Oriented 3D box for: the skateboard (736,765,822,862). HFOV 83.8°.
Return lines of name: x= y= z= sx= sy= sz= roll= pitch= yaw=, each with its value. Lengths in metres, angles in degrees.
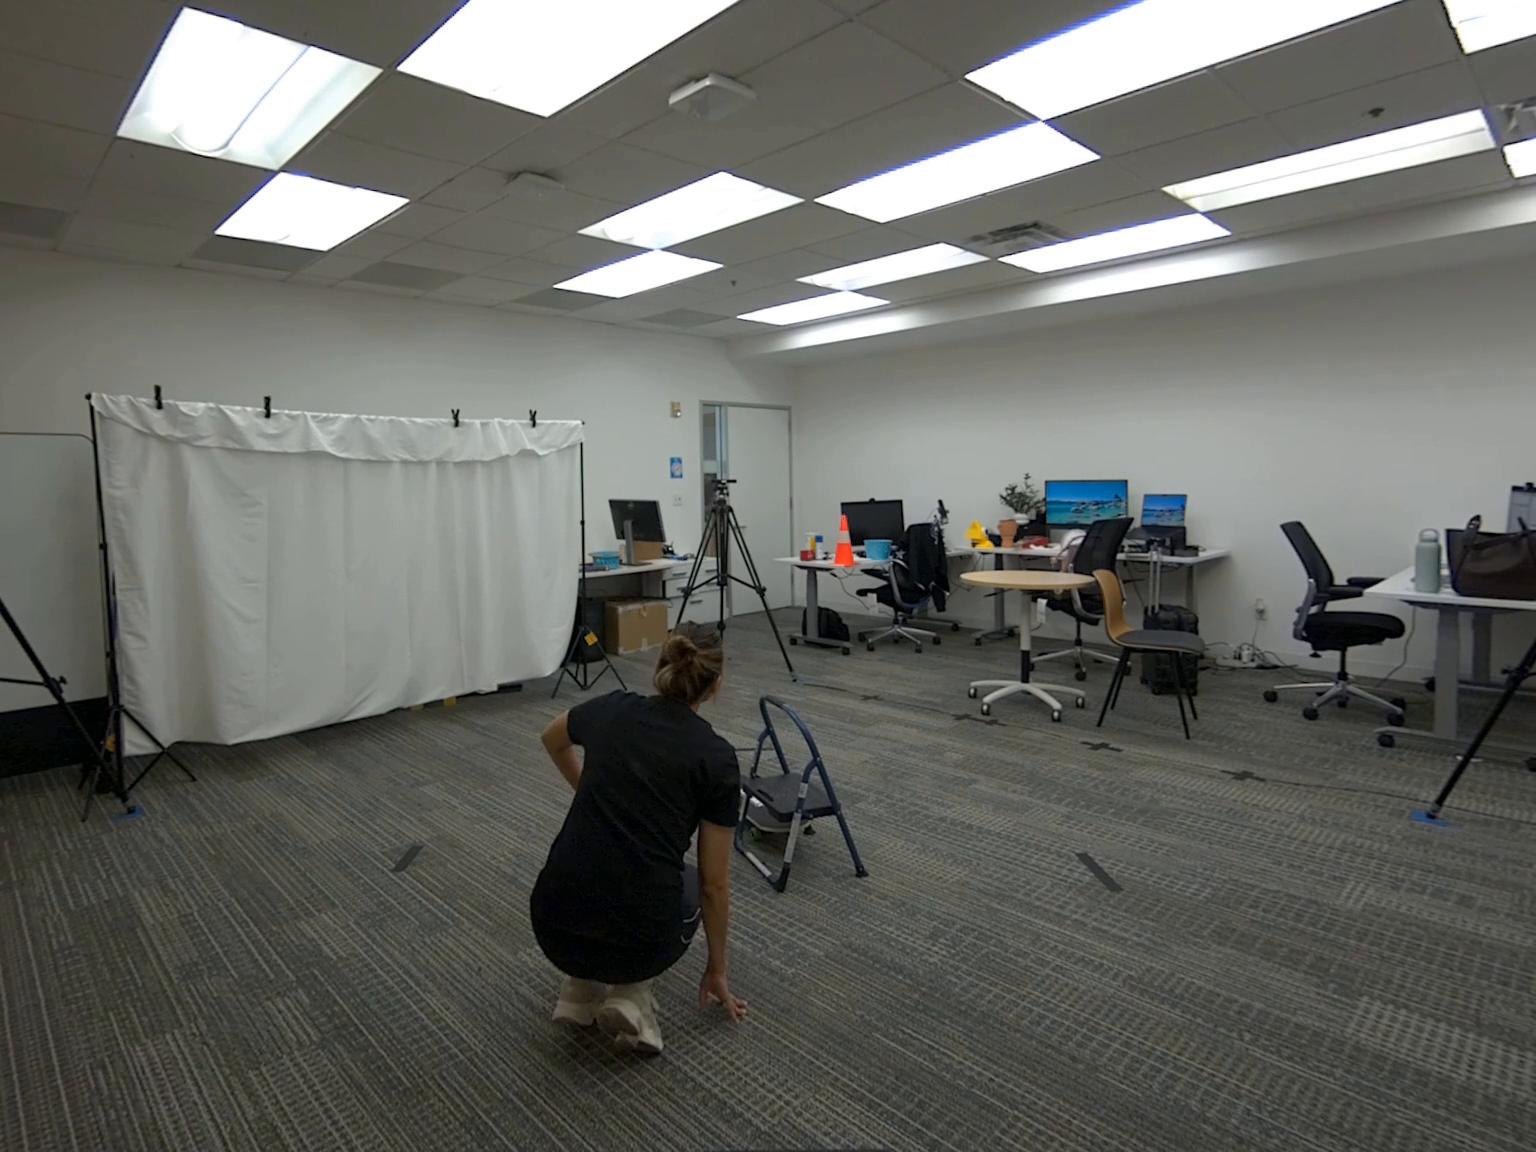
skateboard: x=-0.067 y=0.944 z=3.522 sx=0.189 sy=0.110 sz=0.805 roll=-5 pitch=7 yaw=-26
